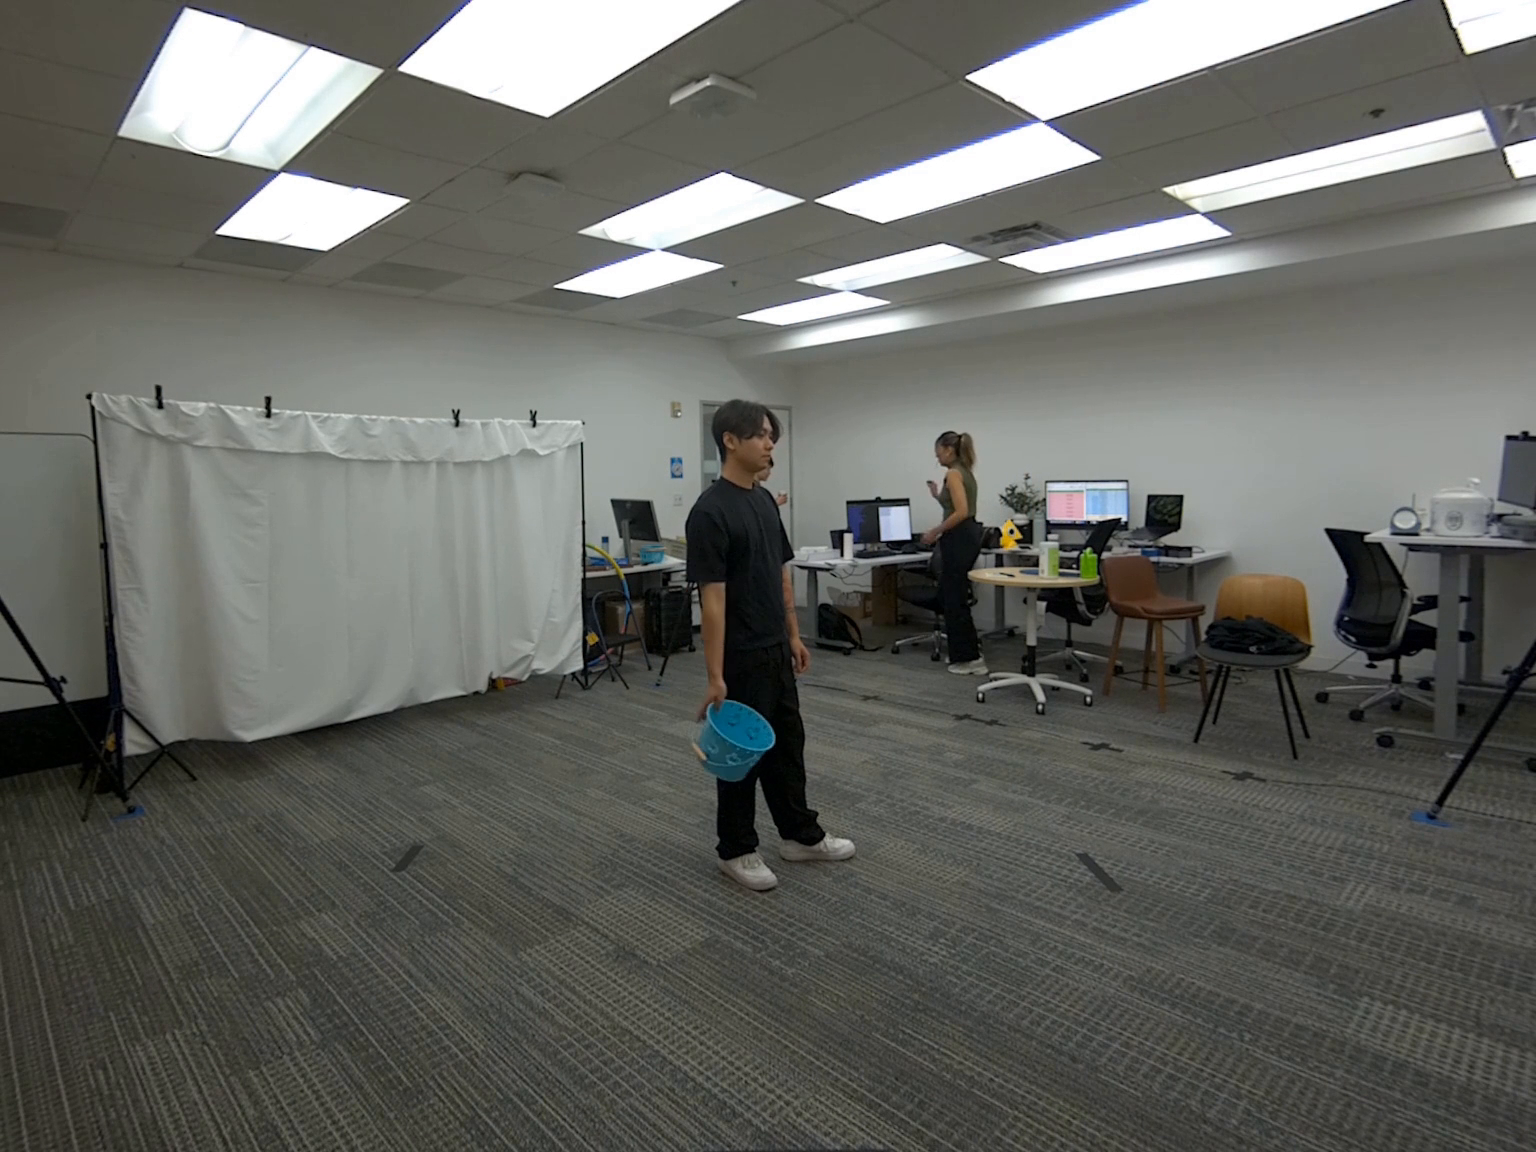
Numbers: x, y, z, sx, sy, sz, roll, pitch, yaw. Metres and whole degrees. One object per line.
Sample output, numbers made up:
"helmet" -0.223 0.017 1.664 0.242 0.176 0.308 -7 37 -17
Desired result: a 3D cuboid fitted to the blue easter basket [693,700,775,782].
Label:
"blue easter basket" -0.119 0.517 2.689 0.240 0.155 0.248 23 21 -11
